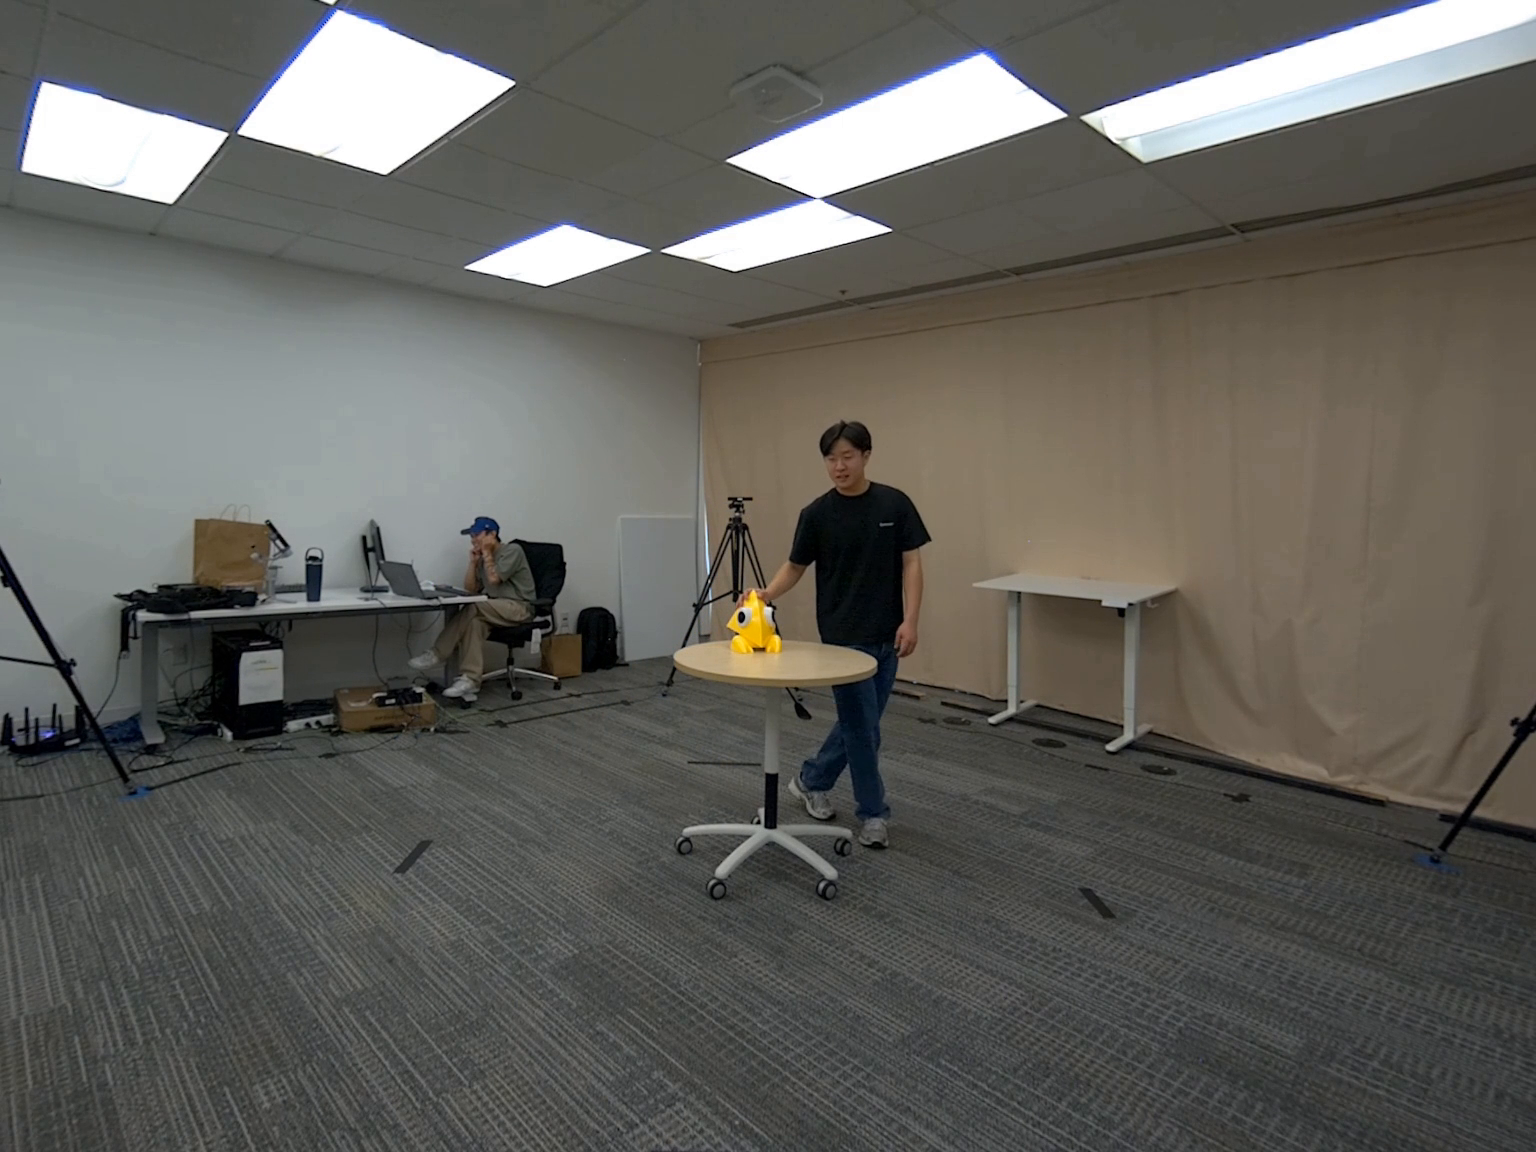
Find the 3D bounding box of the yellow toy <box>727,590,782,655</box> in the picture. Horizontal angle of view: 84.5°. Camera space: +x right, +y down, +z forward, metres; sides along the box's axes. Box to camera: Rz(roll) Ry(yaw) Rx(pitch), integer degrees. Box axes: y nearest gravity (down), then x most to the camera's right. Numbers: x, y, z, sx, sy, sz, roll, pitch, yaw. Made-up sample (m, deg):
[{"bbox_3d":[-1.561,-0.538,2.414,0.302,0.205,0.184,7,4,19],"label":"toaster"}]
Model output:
[{"bbox_3d":[-0.051,0.177,3.336,0.203,0.230,0.195,1,3,-13],"label":"yellow toy"}]
